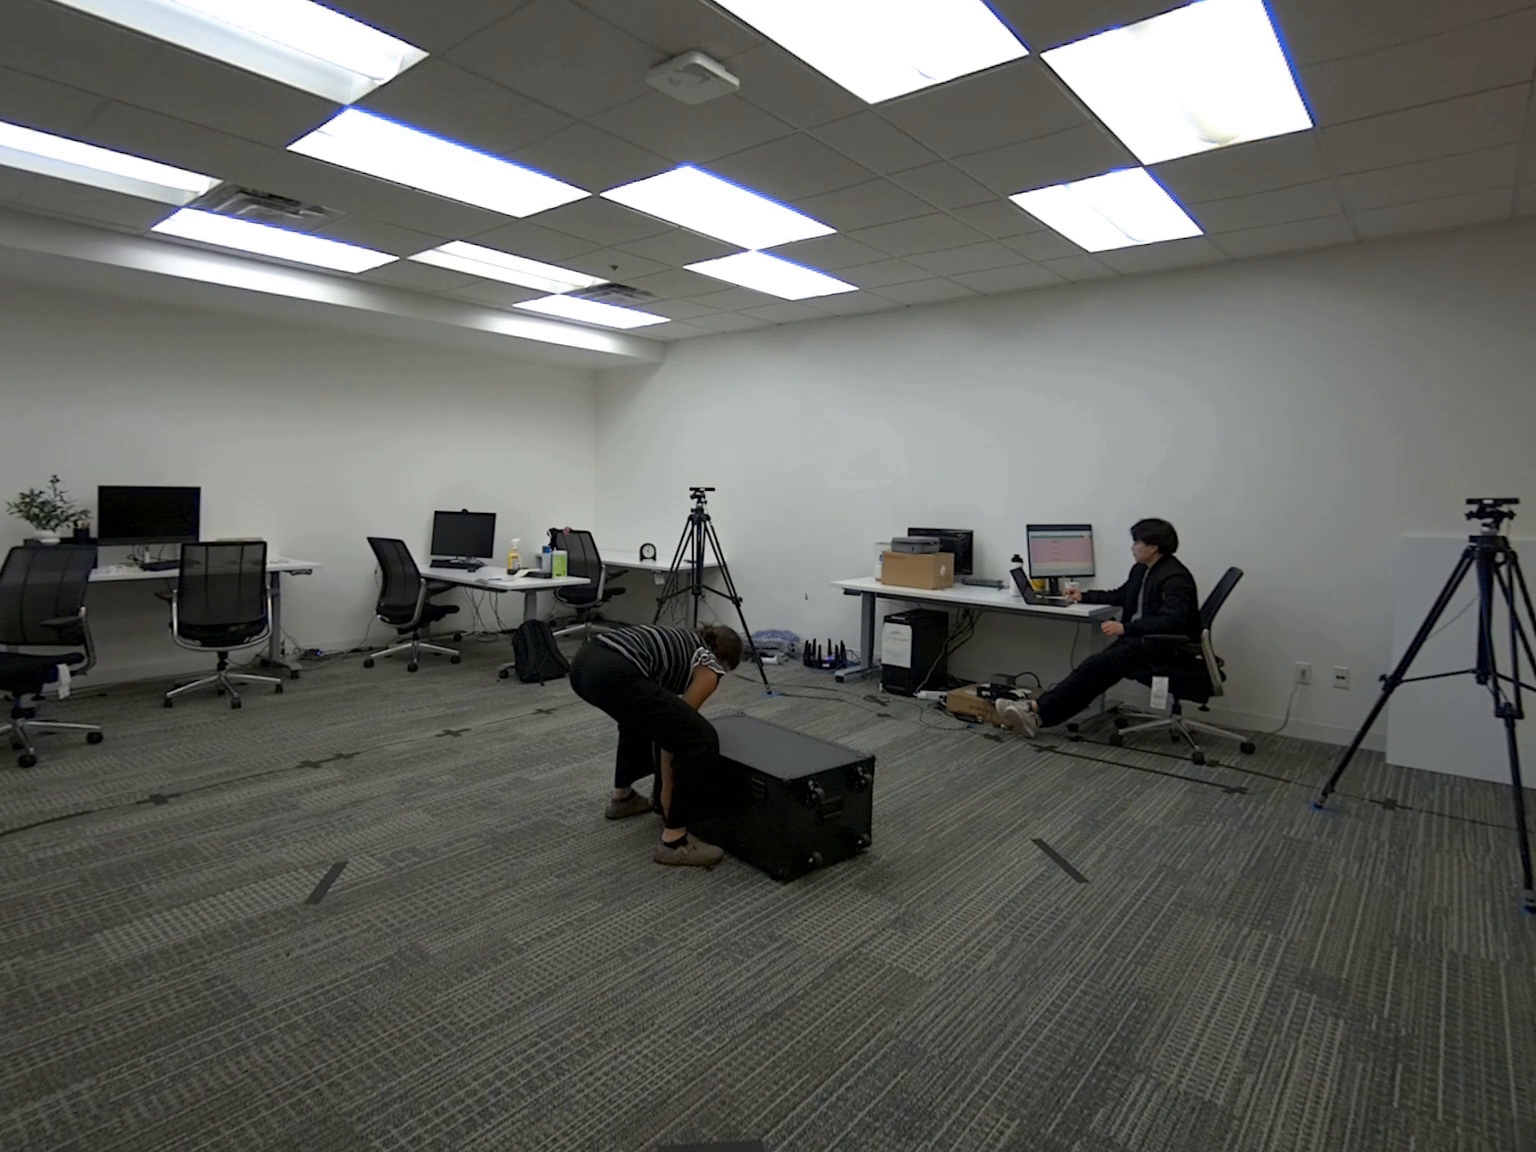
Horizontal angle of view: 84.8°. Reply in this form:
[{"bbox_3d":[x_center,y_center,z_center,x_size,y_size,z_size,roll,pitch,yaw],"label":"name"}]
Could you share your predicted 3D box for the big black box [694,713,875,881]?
[{"bbox_3d":[-0.014,0.854,3.393,0.505,0.395,0.891,-3,6,-43],"label":"big black box"}]
